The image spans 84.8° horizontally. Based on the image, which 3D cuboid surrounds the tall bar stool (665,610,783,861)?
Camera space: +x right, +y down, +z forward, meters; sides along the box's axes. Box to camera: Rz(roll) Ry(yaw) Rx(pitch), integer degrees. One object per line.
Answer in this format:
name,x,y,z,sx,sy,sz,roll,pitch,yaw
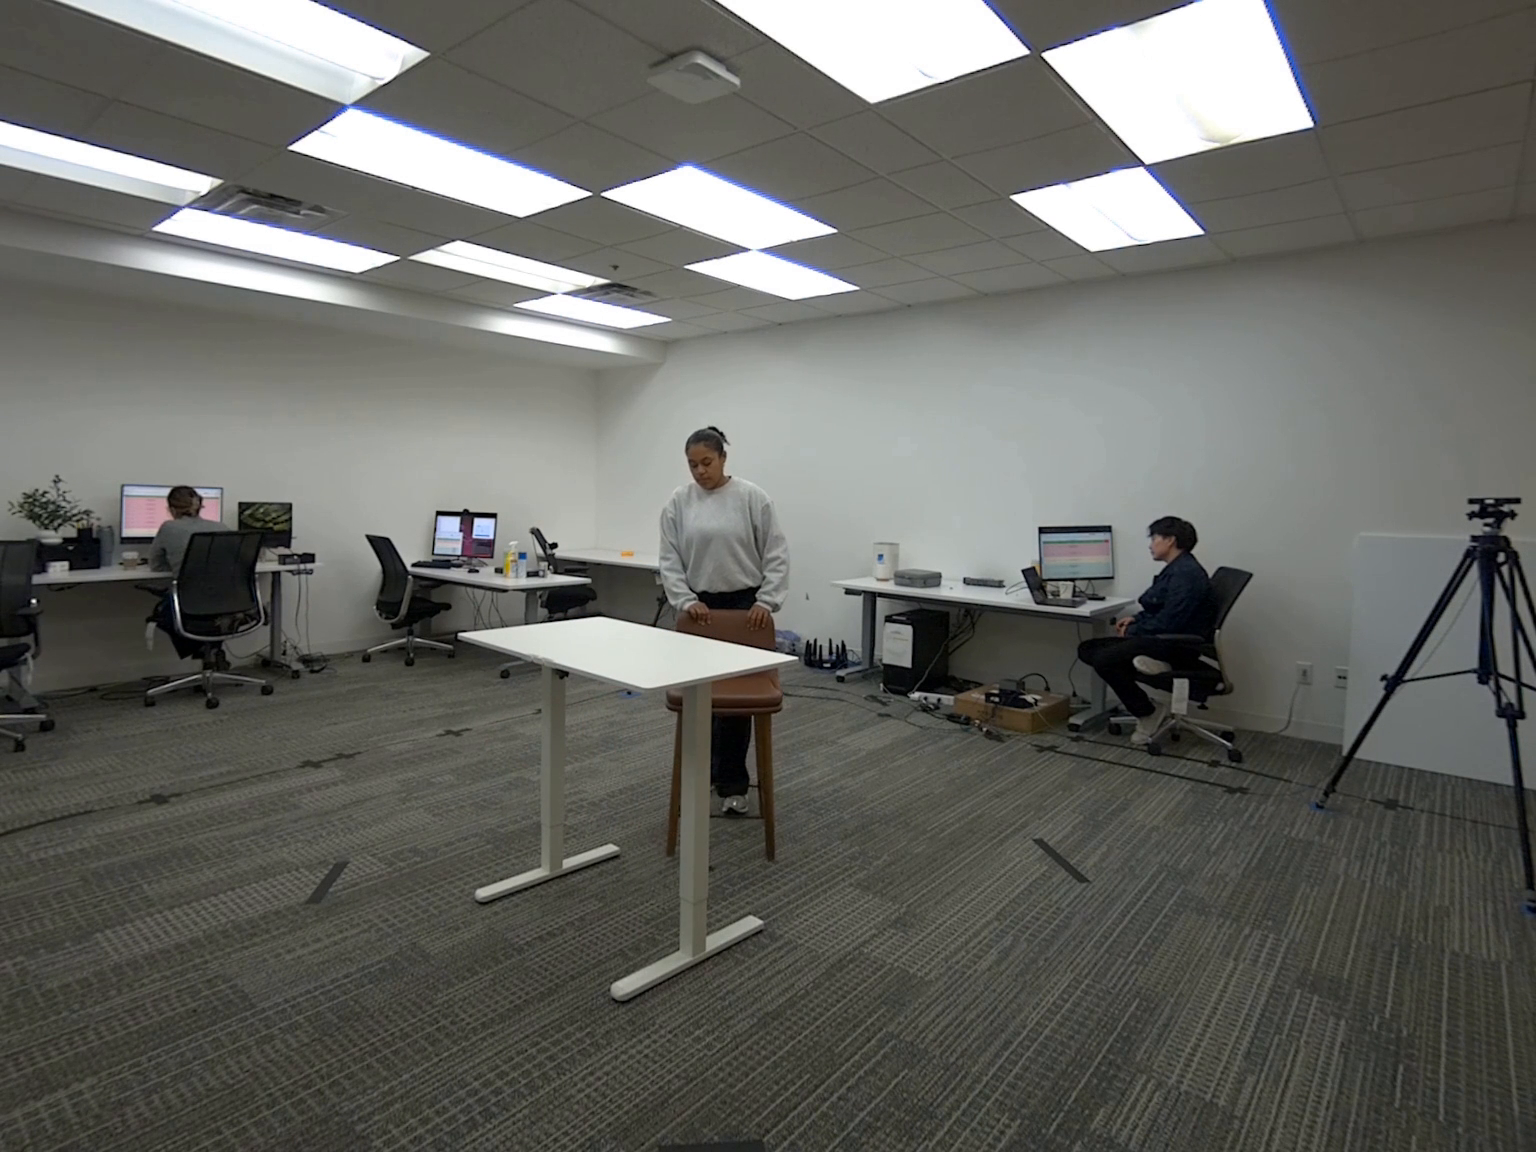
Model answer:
tall bar stool,-0.192,0.604,3.405,0.457,0.889,0.467,1,1,1
